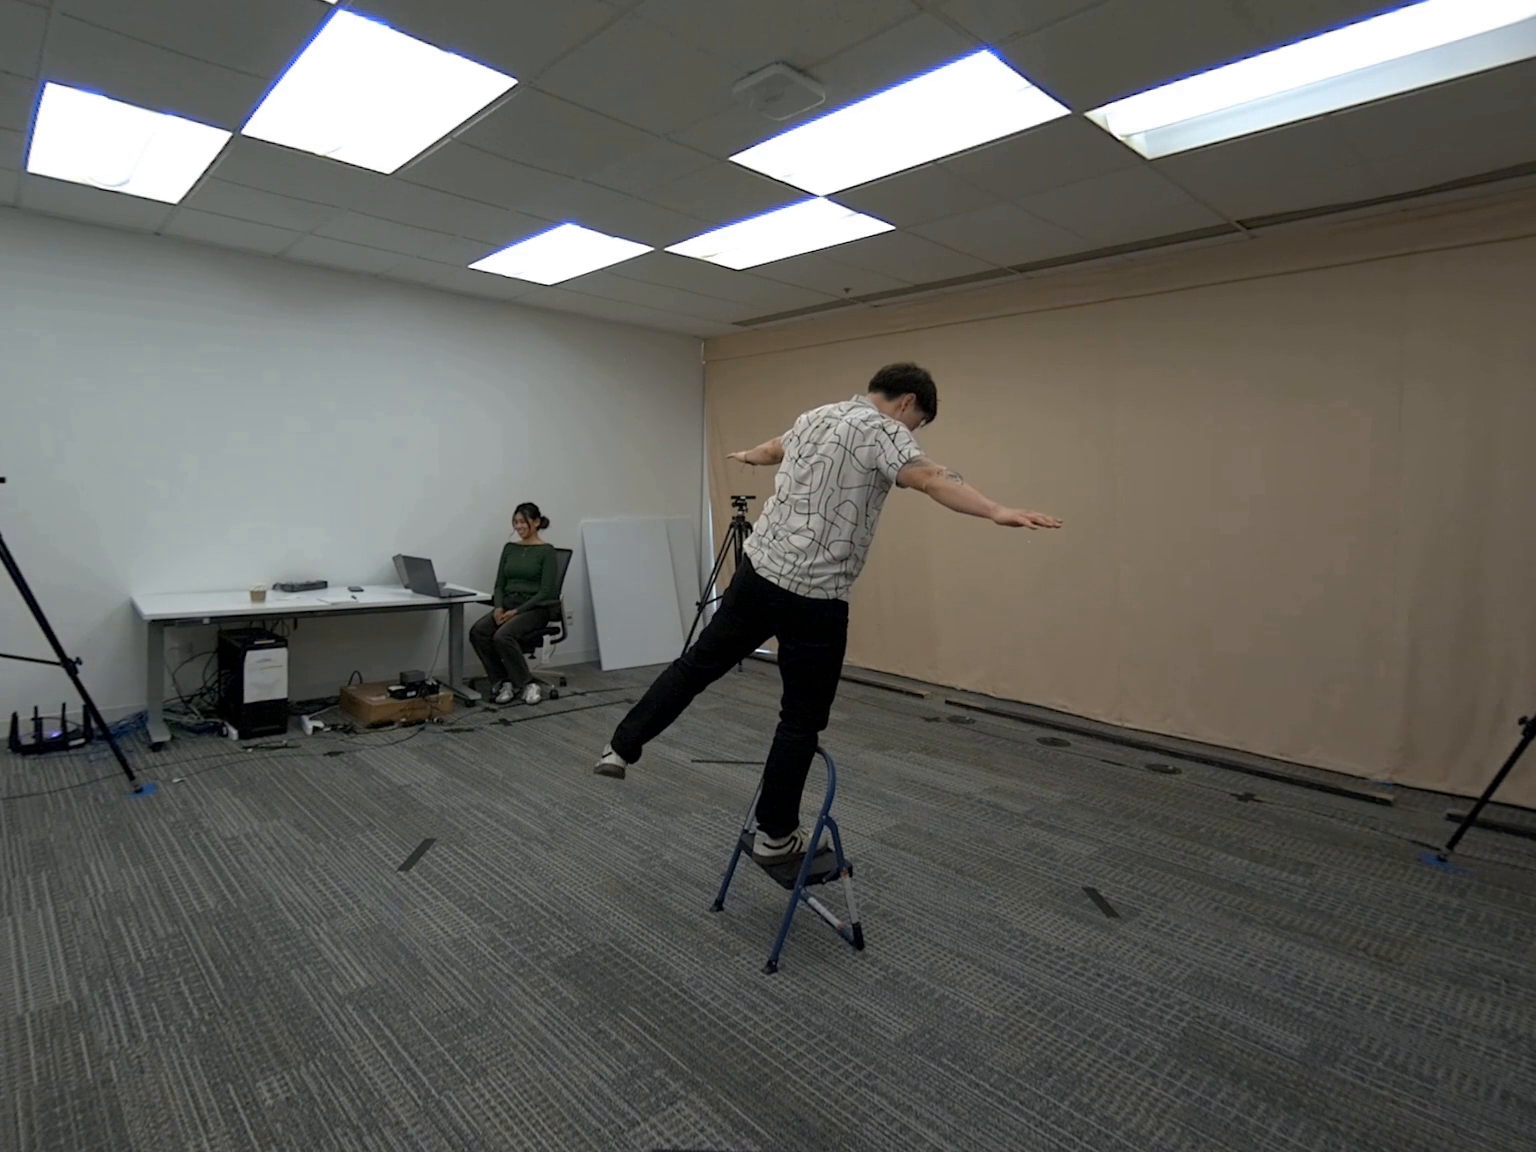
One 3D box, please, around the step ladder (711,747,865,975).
[{"bbox_3d":[0.058,0.841,2.702,0.343,0.604,0.440,-1,5,-27],"label":"step ladder"}]
